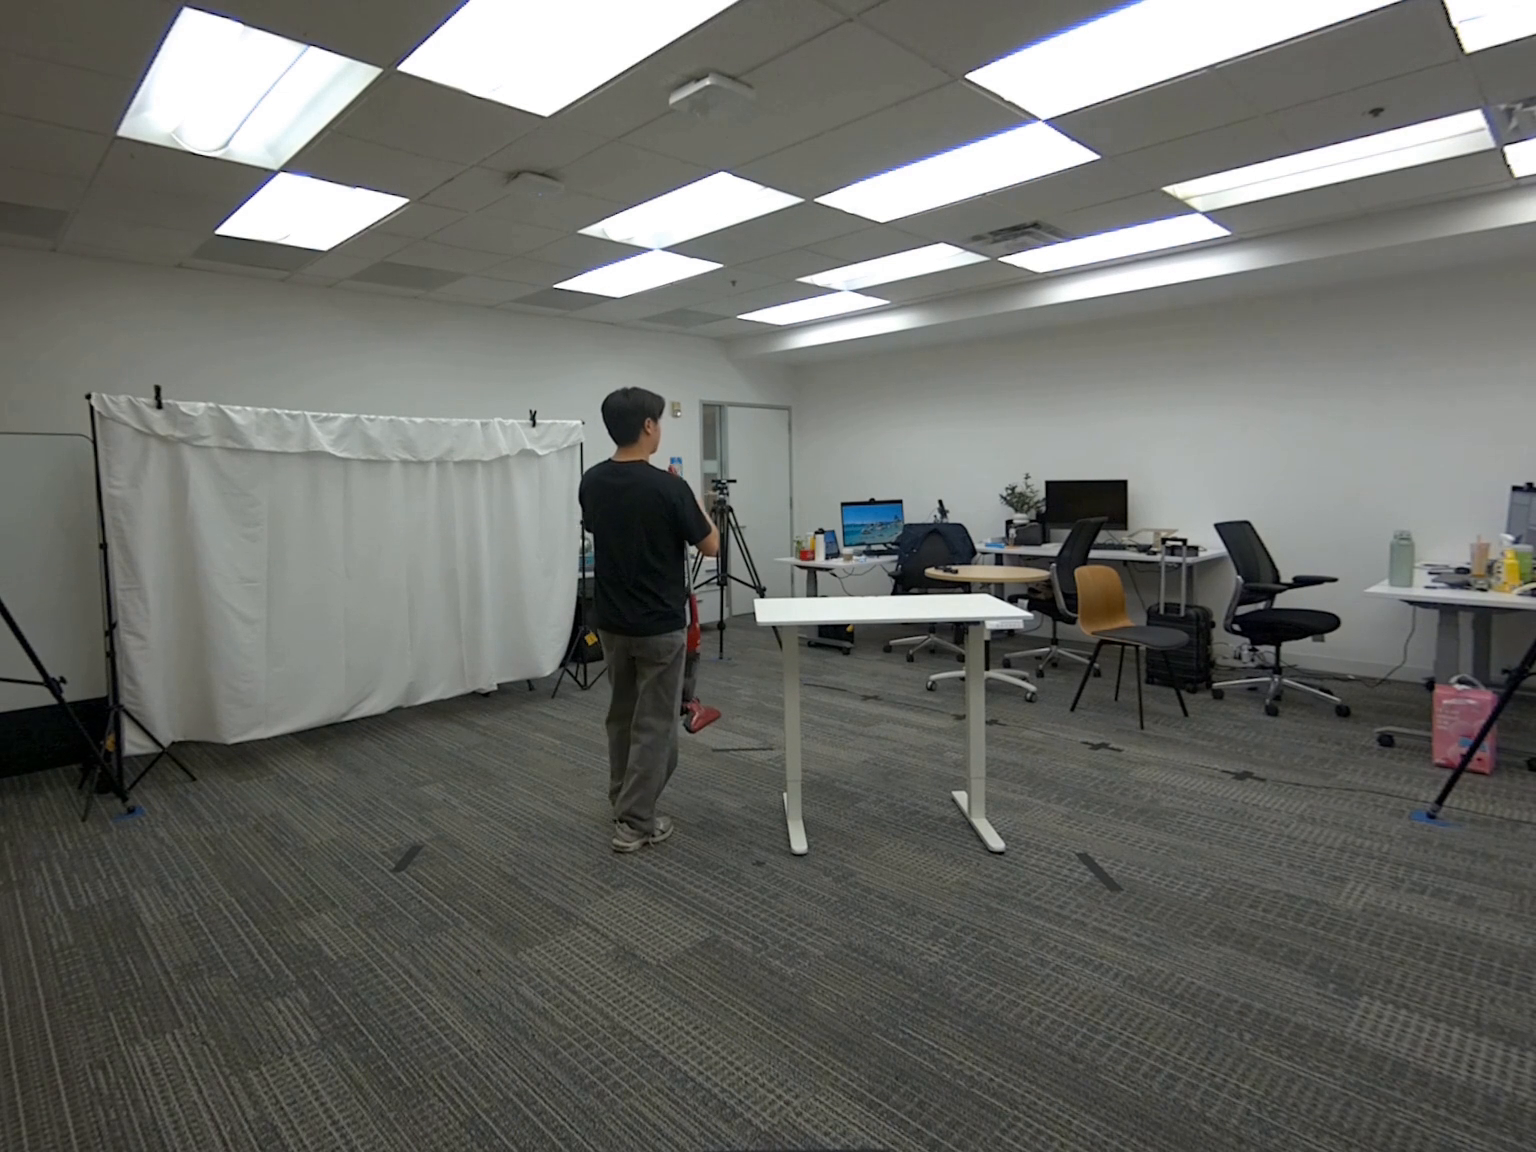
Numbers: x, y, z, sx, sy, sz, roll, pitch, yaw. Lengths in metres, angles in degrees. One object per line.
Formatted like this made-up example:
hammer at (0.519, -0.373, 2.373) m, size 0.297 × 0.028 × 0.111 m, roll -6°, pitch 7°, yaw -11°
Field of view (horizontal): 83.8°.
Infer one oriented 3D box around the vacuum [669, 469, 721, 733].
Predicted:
vacuum at (-0.356, 0.075, 3.620) m, size 0.145 × 1.046 × 0.250 m, roll -4°, pitch 3°, yaw 11°
